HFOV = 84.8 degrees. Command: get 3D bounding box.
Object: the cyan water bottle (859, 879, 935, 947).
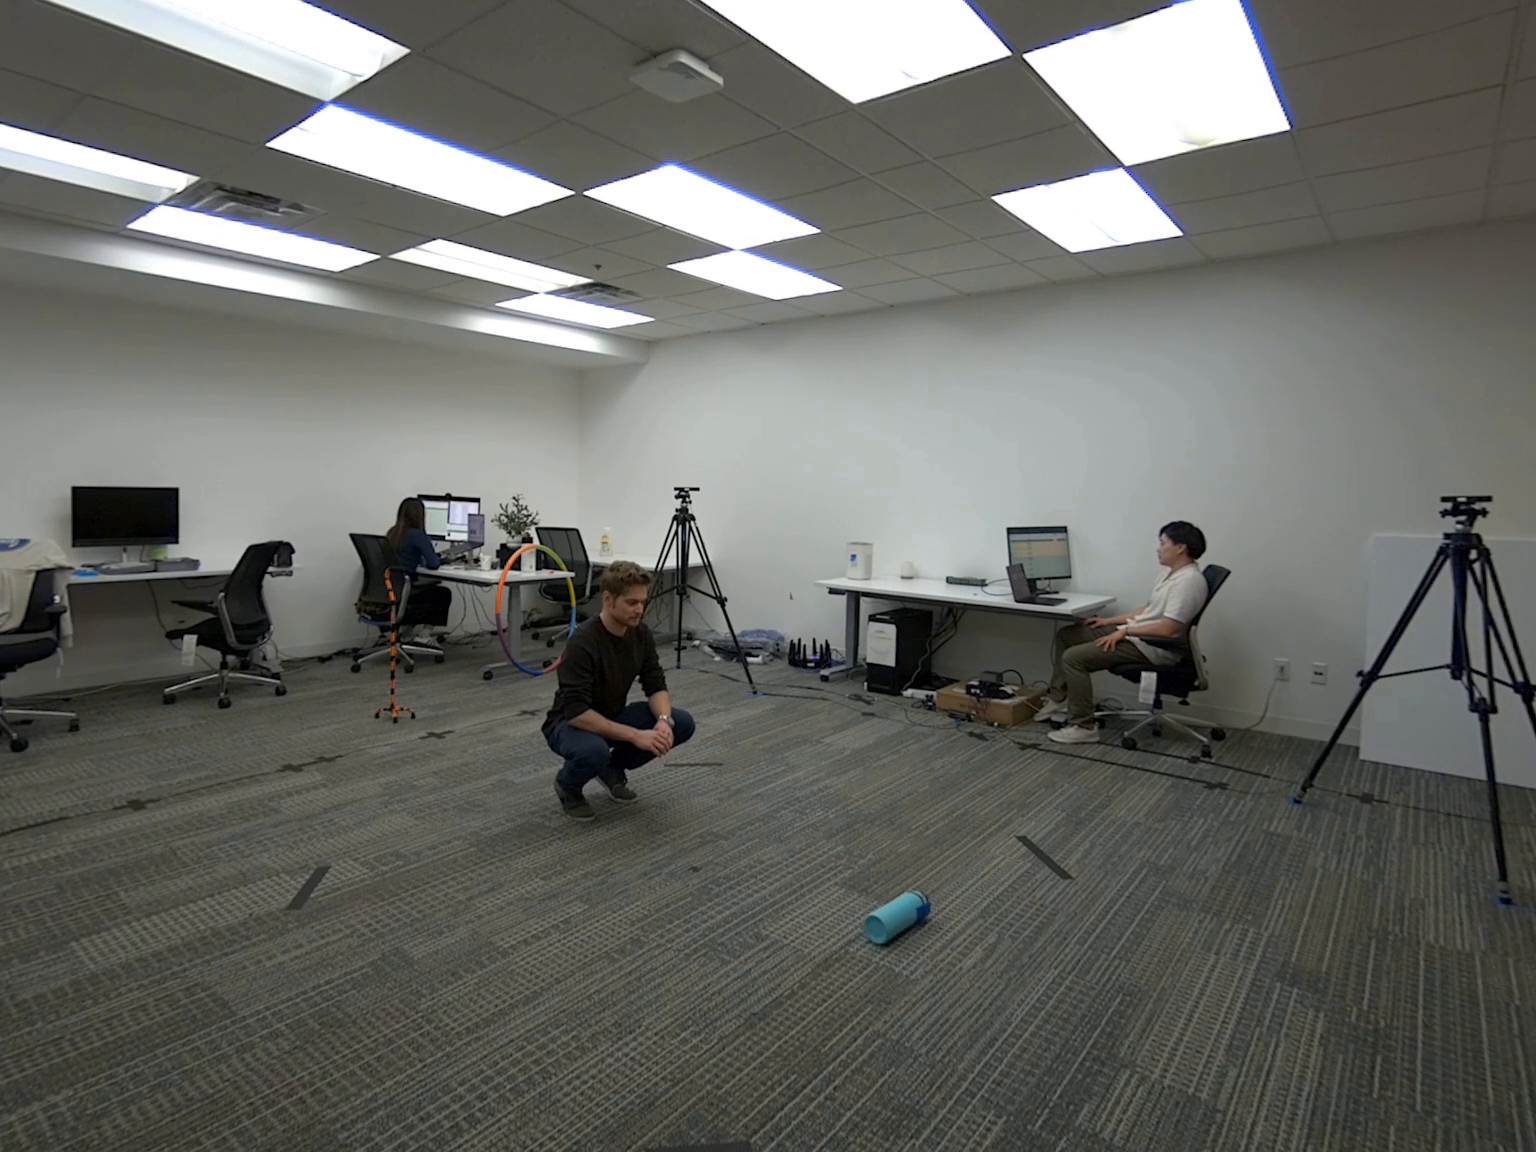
[{"bbox_3d":[0.415,1.075,2.699,0.095,0.092,0.275,5,5,43],"label":"cyan water bottle"}]
